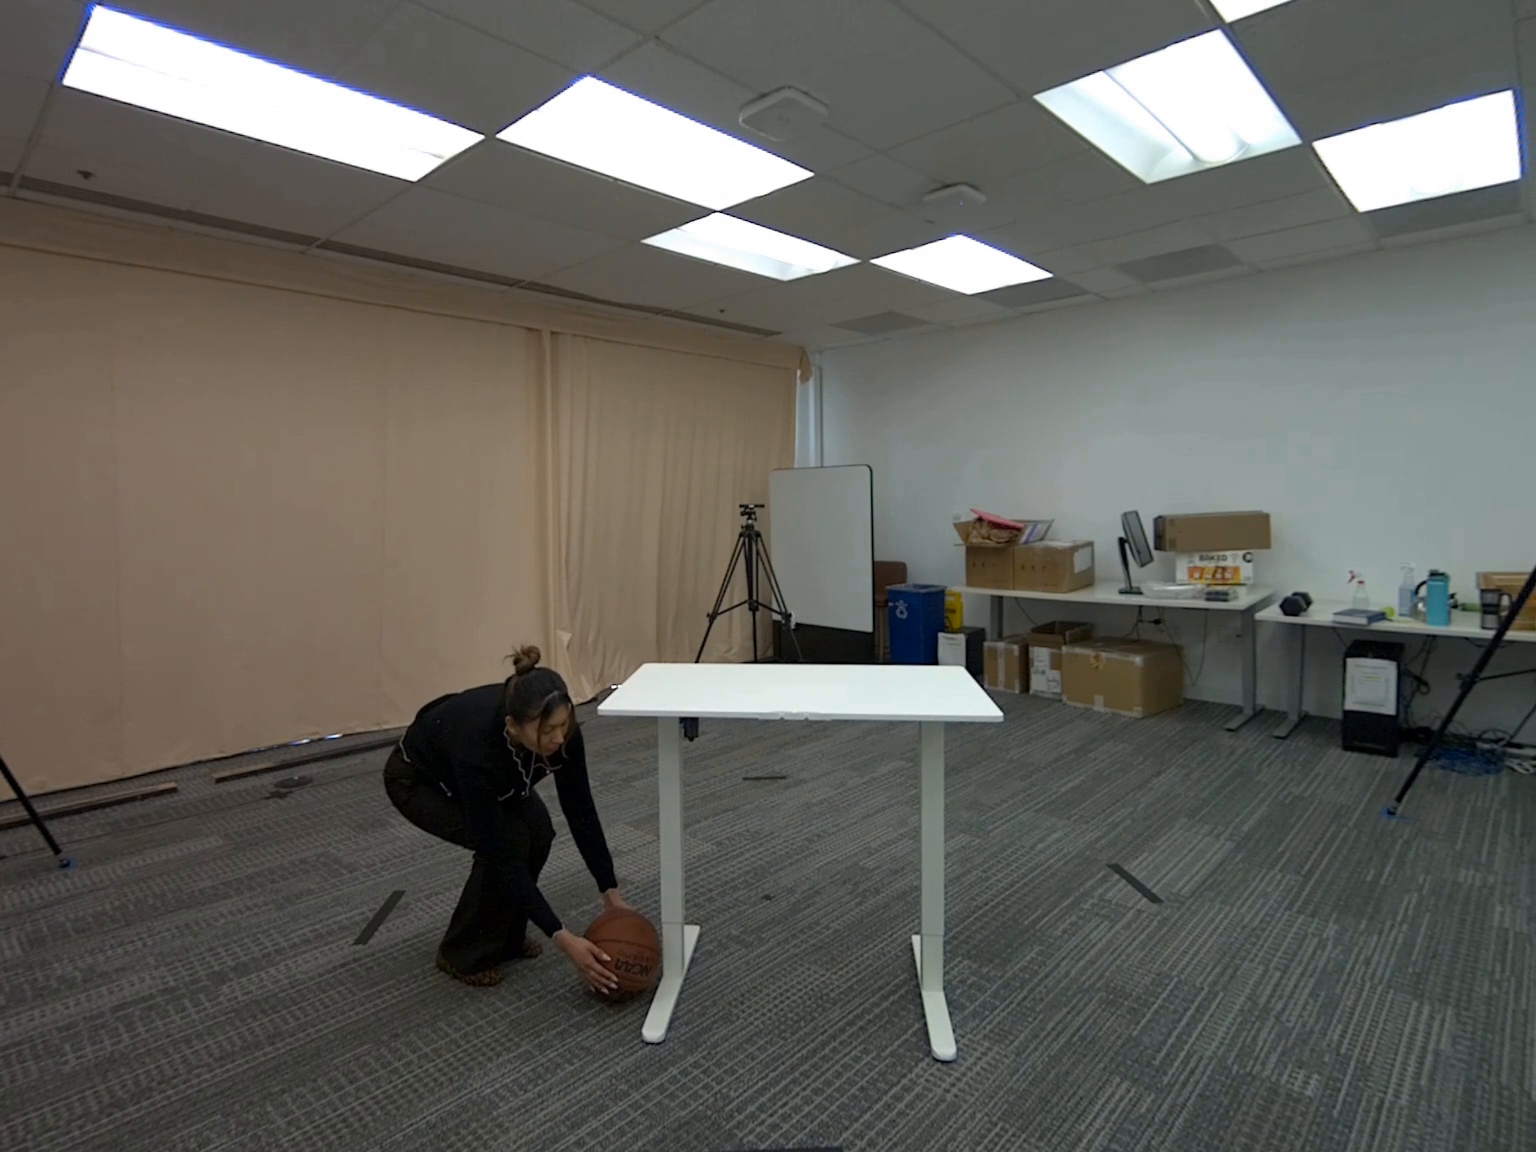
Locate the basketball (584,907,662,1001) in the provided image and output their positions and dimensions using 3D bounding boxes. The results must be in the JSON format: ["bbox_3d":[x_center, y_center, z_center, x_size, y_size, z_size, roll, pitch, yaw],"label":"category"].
[{"bbox_3d":[-0.436,1.081,2.387,0.236,0.235,0.237,-1,4,-2],"label":"basketball"}]
